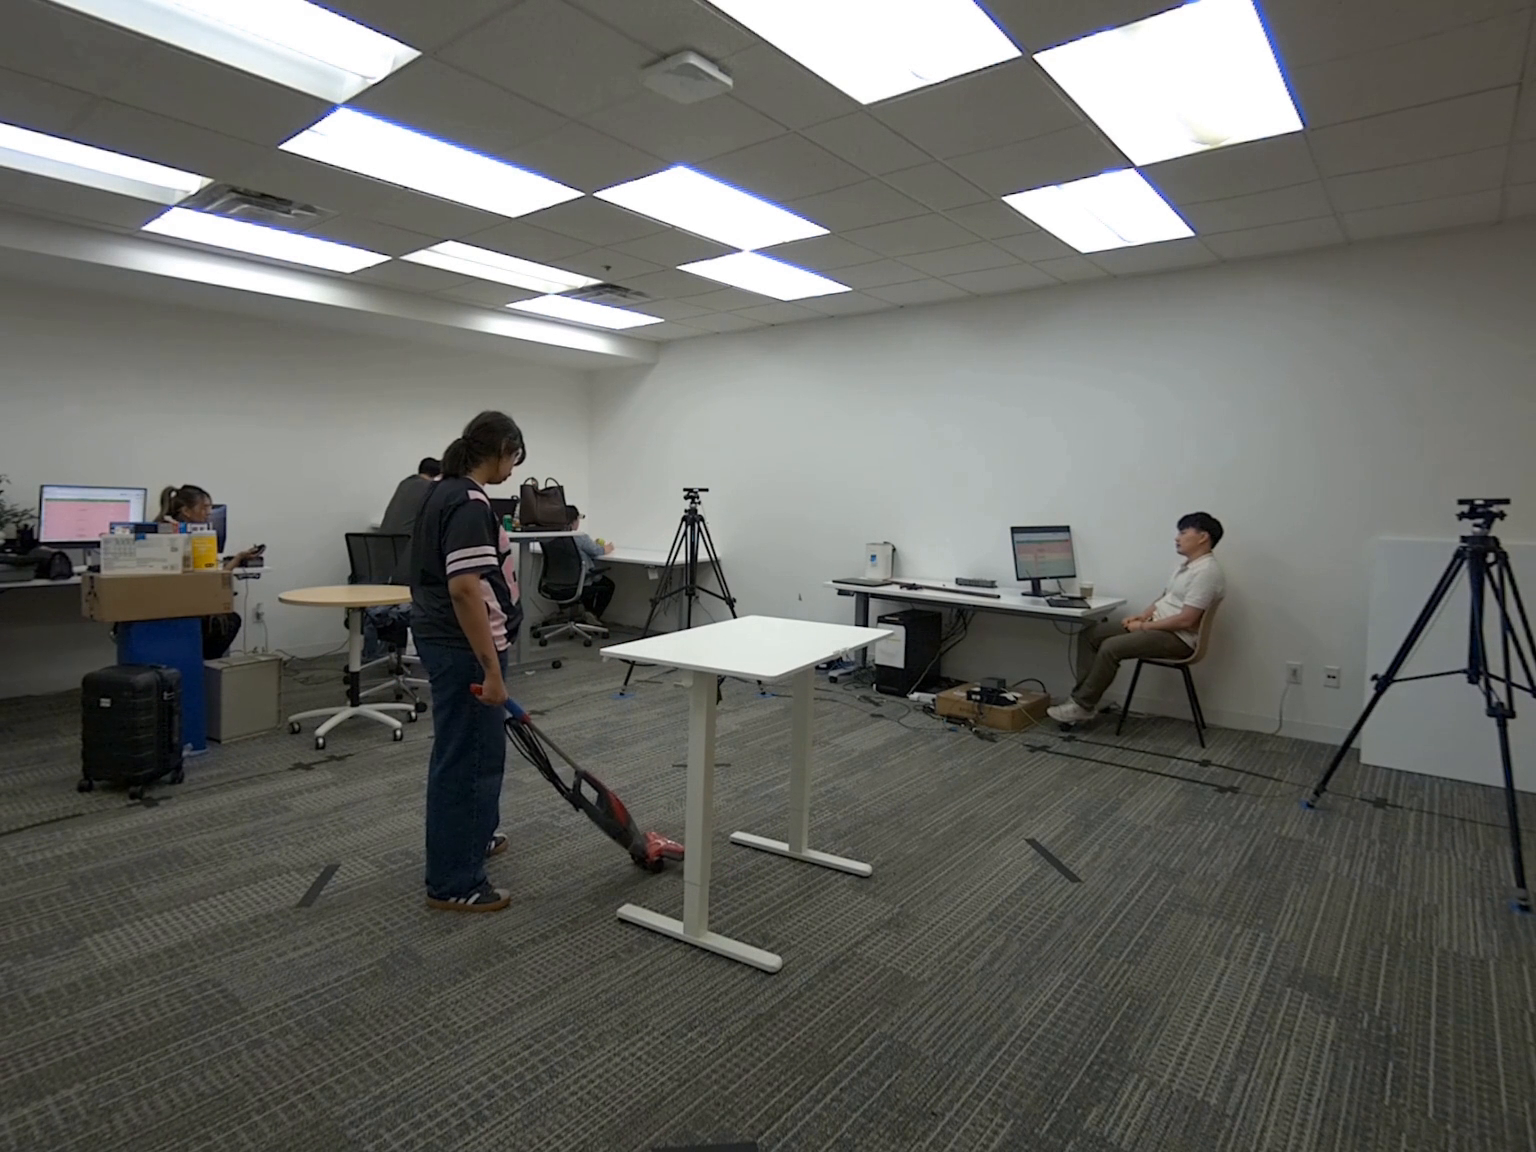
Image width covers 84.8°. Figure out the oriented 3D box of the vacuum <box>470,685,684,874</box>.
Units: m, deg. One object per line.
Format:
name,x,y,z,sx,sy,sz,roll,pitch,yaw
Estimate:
vacuum,-0.670,0.701,2.877,0.261,0.145,1.010,3,-39,46
